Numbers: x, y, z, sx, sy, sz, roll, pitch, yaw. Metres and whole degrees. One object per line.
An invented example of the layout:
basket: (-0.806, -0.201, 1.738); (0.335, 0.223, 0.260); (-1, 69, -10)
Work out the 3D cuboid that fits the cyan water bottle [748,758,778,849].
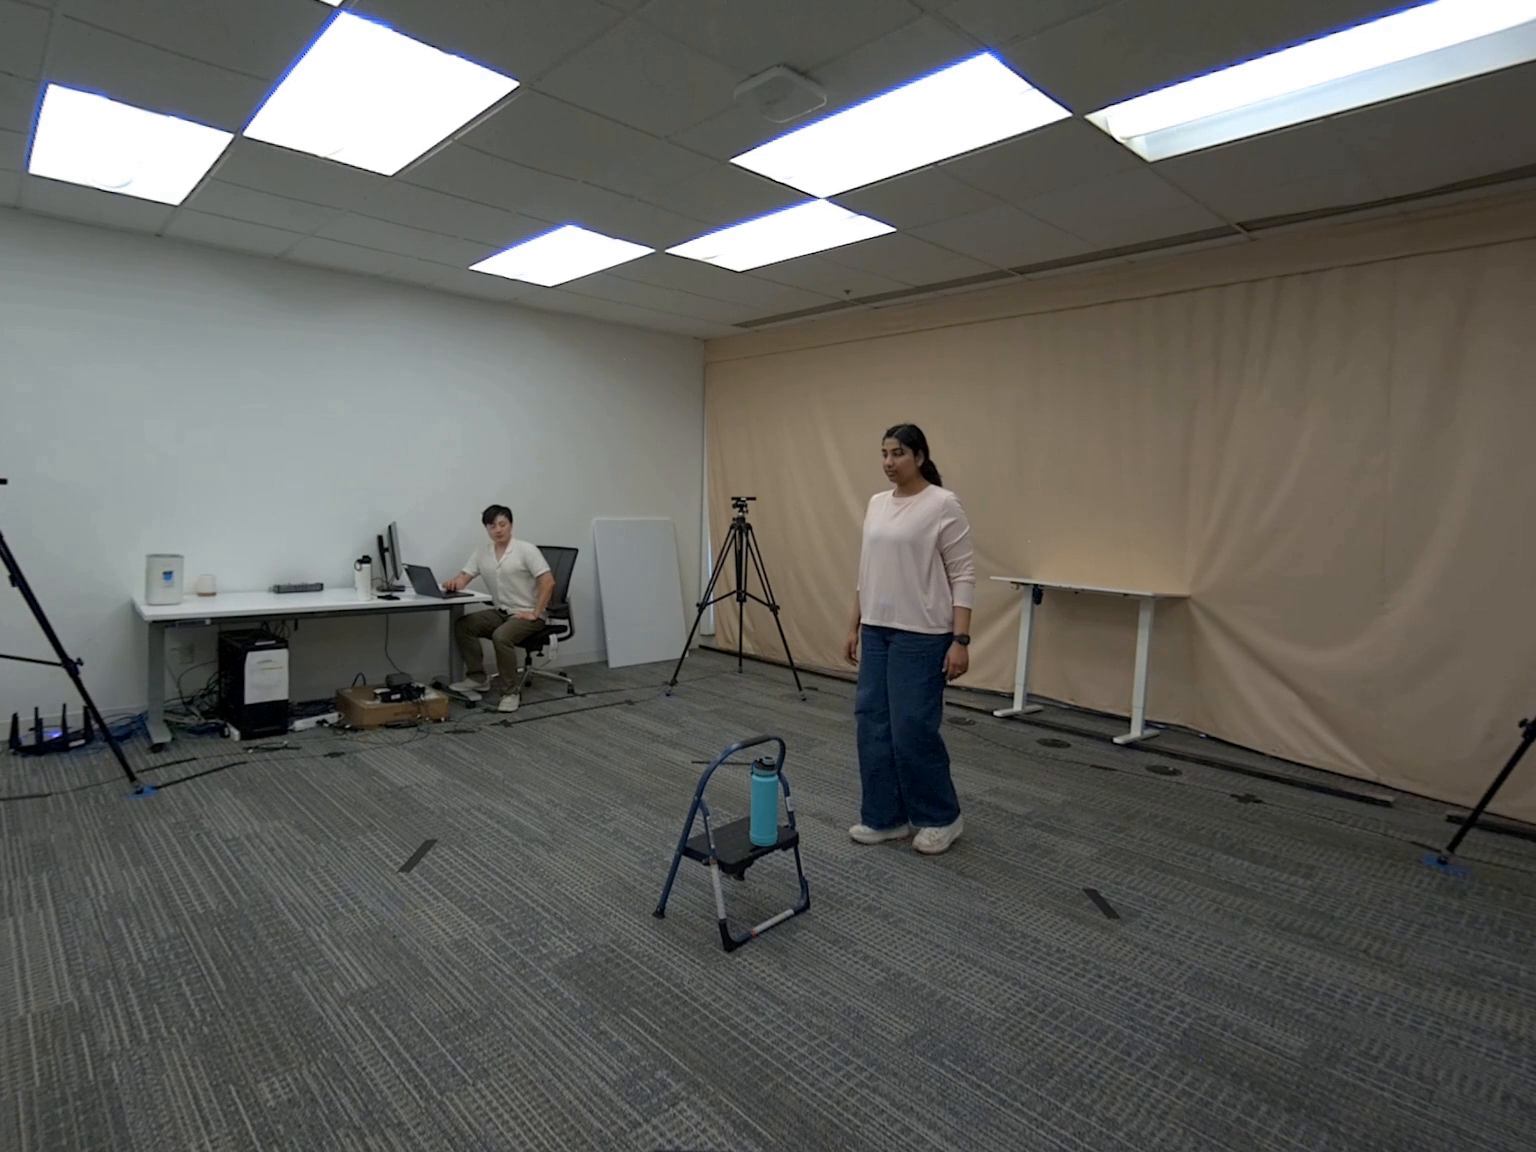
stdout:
cyan water bottle: (-0.020, 0.741, 2.768); (0.092, 0.282, 0.093); (1, 6, -2)
